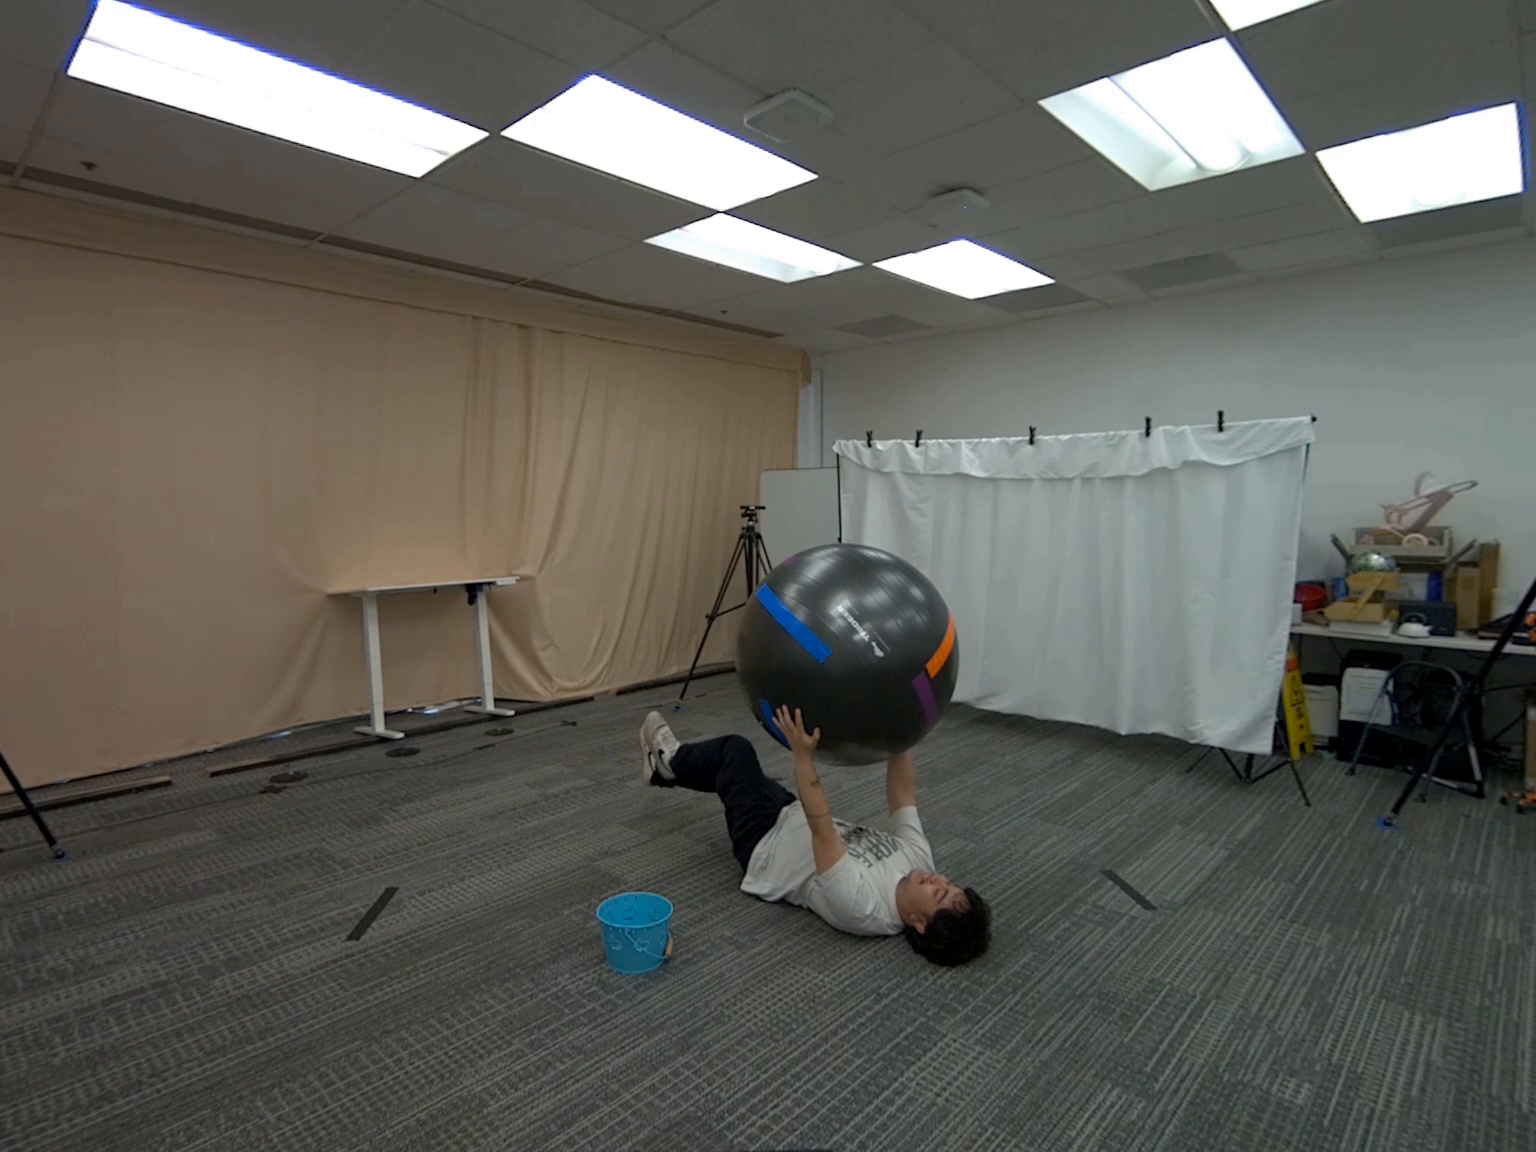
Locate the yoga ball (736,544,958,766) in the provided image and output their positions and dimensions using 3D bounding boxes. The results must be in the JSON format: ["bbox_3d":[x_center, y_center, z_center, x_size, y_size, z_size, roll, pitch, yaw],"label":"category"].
[{"bbox_3d":[0.269,0.272,2.897,0.757,0.756,0.761,0,4,-2],"label":"yoga ball"}]
